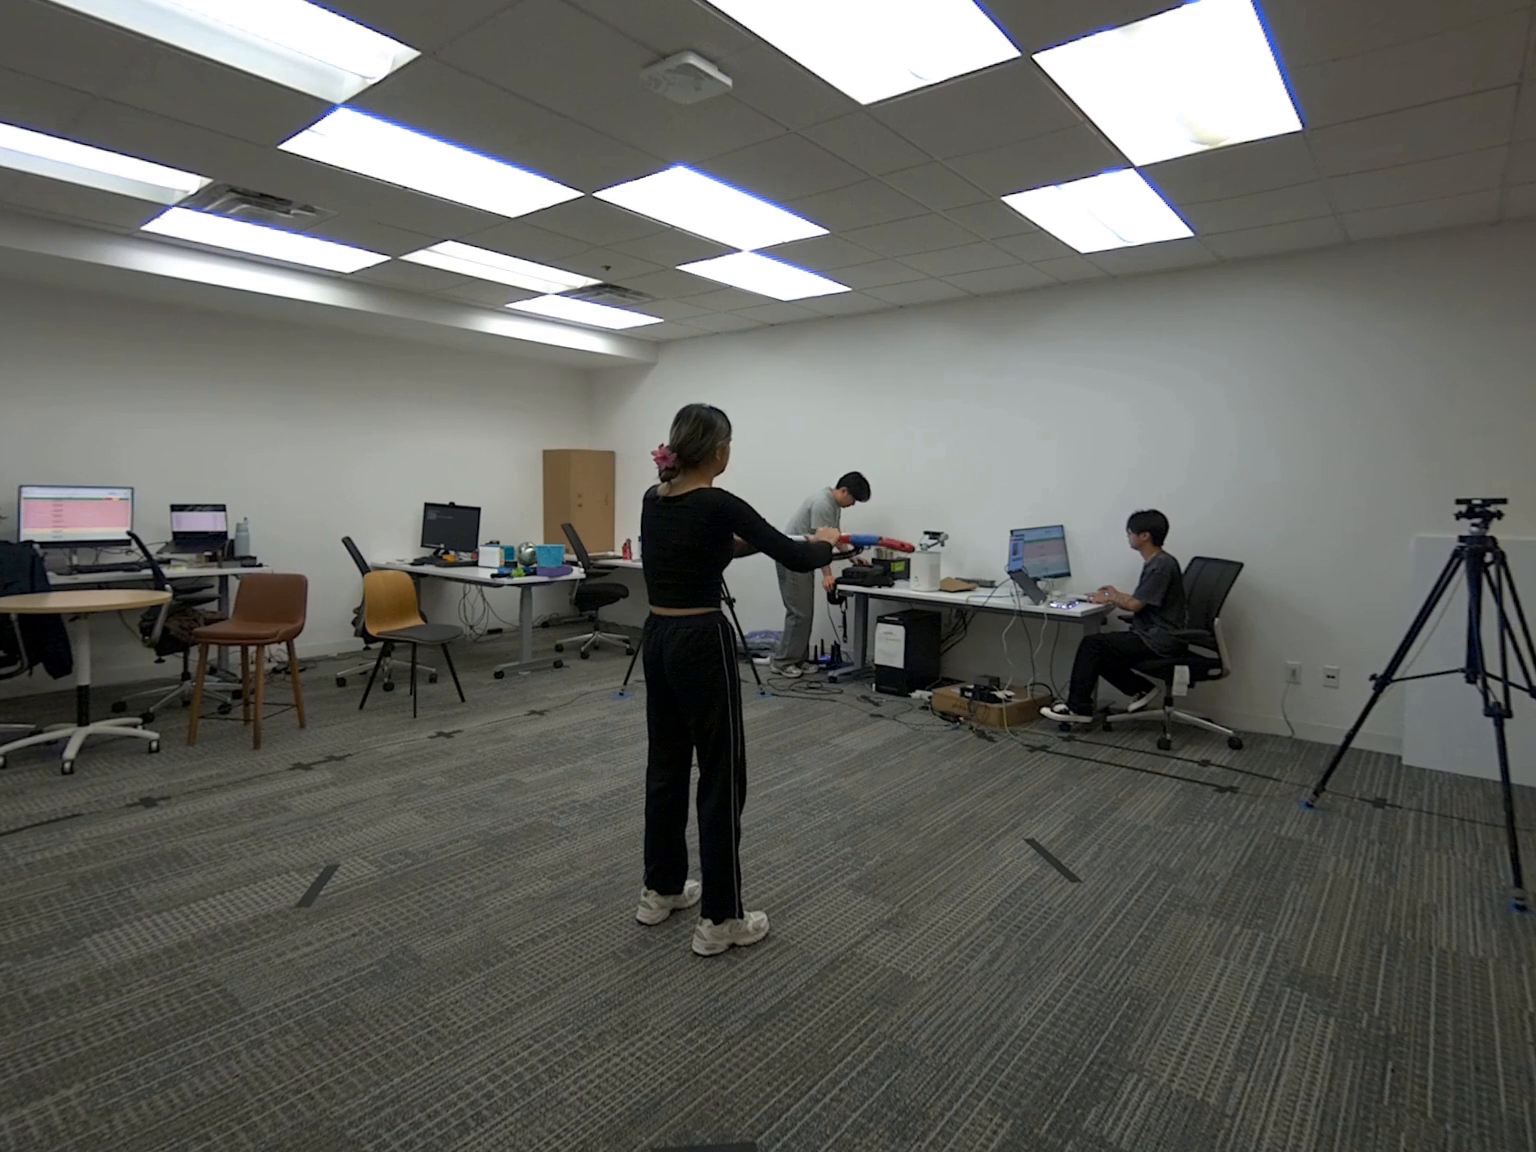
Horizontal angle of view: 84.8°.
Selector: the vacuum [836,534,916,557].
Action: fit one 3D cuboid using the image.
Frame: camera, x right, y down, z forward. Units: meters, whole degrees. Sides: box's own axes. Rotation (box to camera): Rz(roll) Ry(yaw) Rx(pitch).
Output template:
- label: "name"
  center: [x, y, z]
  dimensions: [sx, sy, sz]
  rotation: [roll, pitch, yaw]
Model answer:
- label: "vacuum"
  center: [0.025, -0.109, 2.971]
  dimensions: [1.084, 0.255, 0.138]
  rotation: [4, -27, 44]
